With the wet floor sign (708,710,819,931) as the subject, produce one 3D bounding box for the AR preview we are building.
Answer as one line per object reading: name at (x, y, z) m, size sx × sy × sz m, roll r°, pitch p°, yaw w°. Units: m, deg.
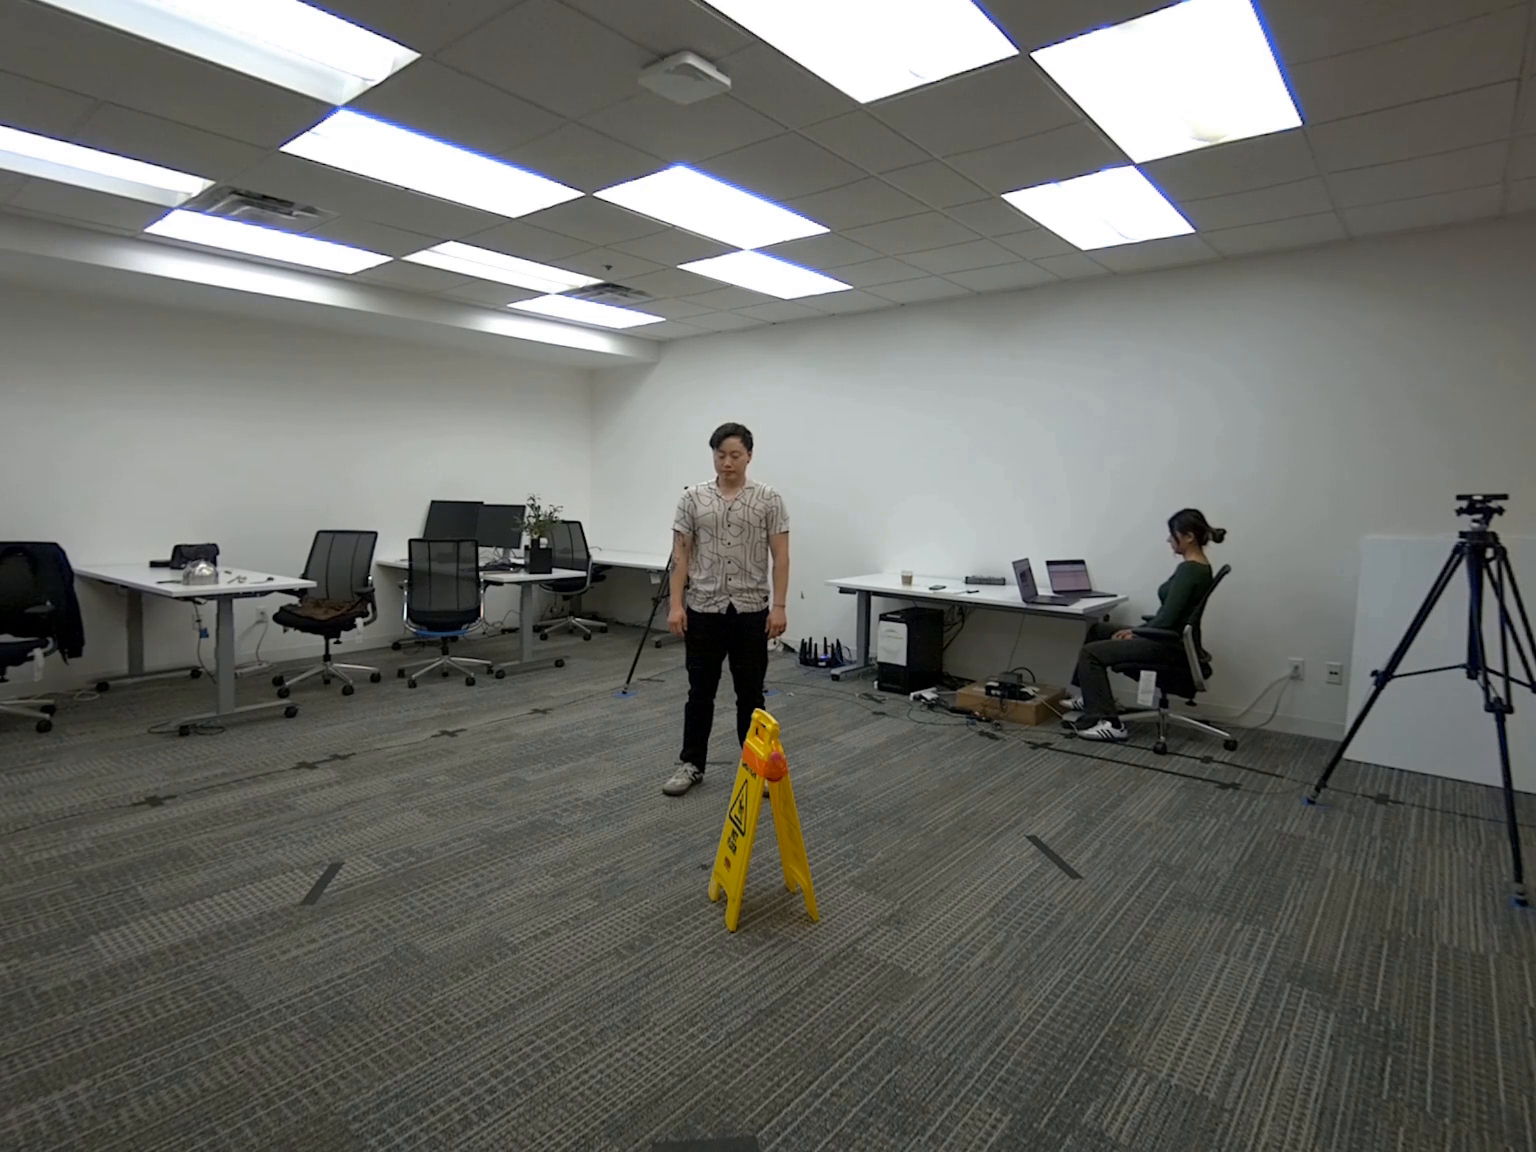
wet floor sign at (-0.022, 0.770, 2.809) m, size 0.284 × 0.644 × 0.288 m, roll 1°, pitch 3°, yaw -18°
